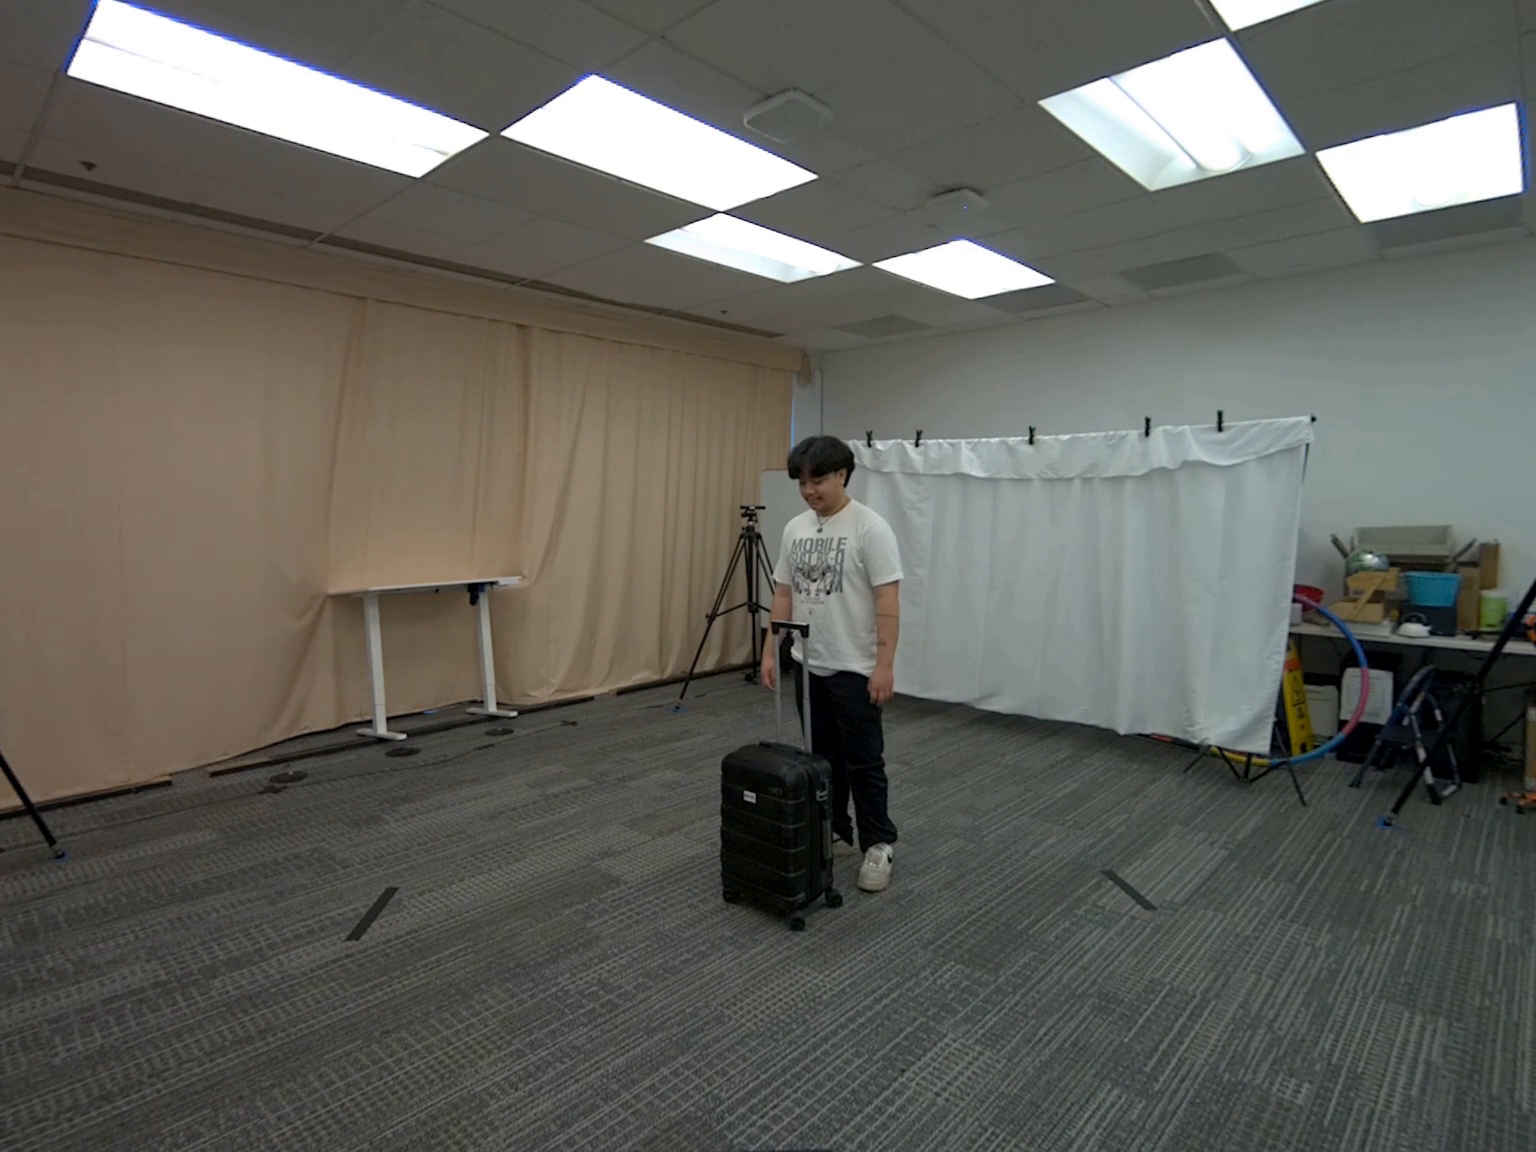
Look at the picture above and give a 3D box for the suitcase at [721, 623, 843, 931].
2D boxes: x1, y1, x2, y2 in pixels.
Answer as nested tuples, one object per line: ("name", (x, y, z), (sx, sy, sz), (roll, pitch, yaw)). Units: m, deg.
("suitcase", (0.021, 0.673, 2.916), (0.397, 0.975, 0.249), (2, 7, 42))
